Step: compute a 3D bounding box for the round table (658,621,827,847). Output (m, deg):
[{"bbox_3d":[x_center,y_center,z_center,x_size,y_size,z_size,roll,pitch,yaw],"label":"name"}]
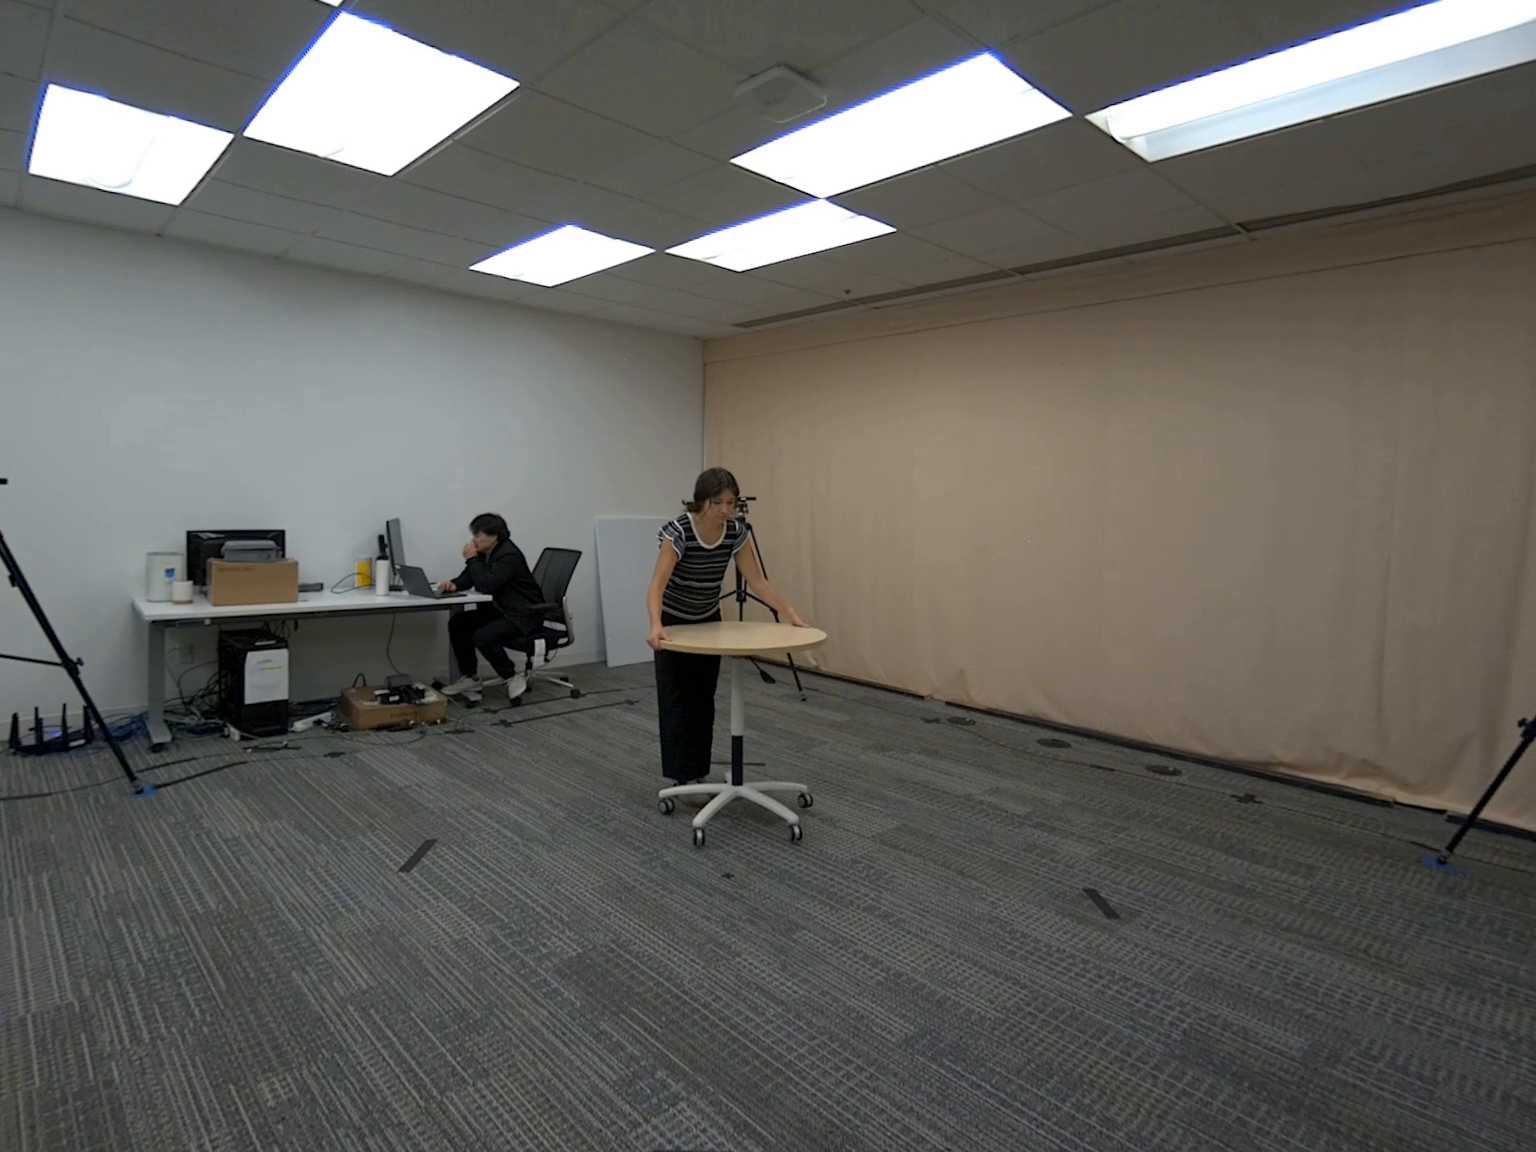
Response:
[{"bbox_3d":[-0.138,0.650,3.636,0.763,0.792,0.766,0,3,-1],"label":"round table"}]
